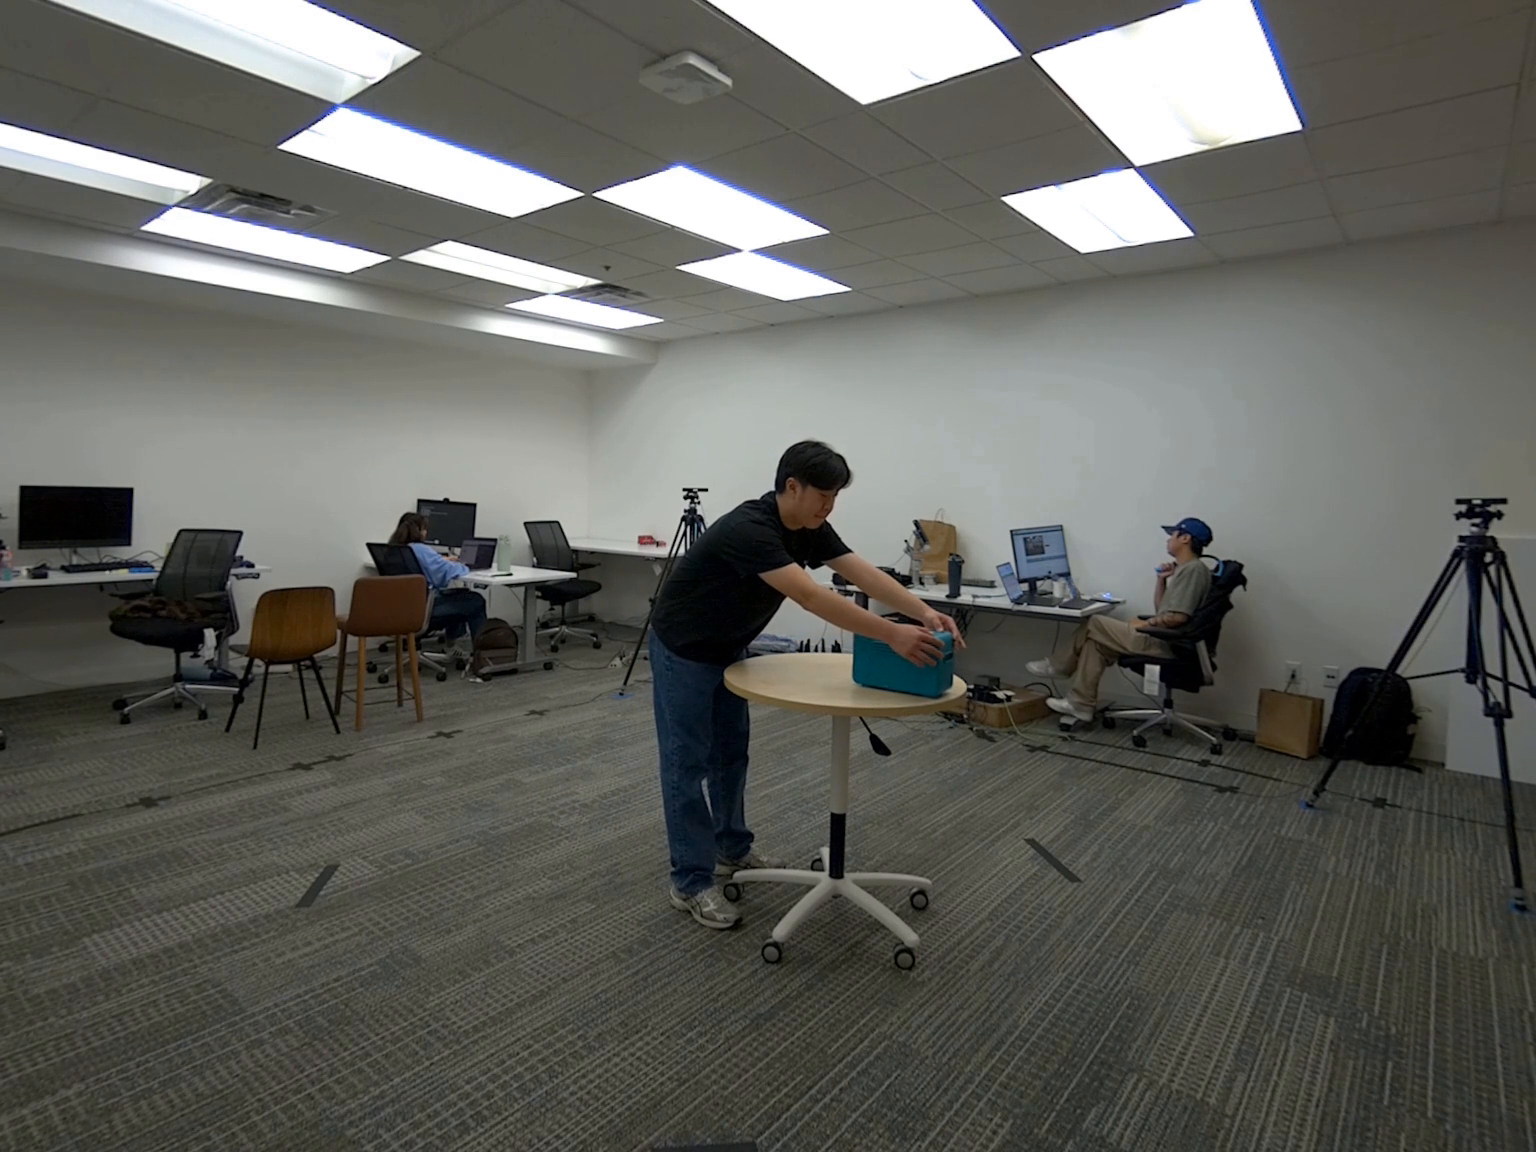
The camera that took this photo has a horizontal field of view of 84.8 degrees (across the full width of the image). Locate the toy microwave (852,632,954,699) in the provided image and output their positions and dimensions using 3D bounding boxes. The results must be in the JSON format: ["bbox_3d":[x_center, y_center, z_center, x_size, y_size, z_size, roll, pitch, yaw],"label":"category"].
[{"bbox_3d":[0.410,0.249,2.582,0.295,0.183,0.148,4,5,35],"label":"toy microwave"}]
